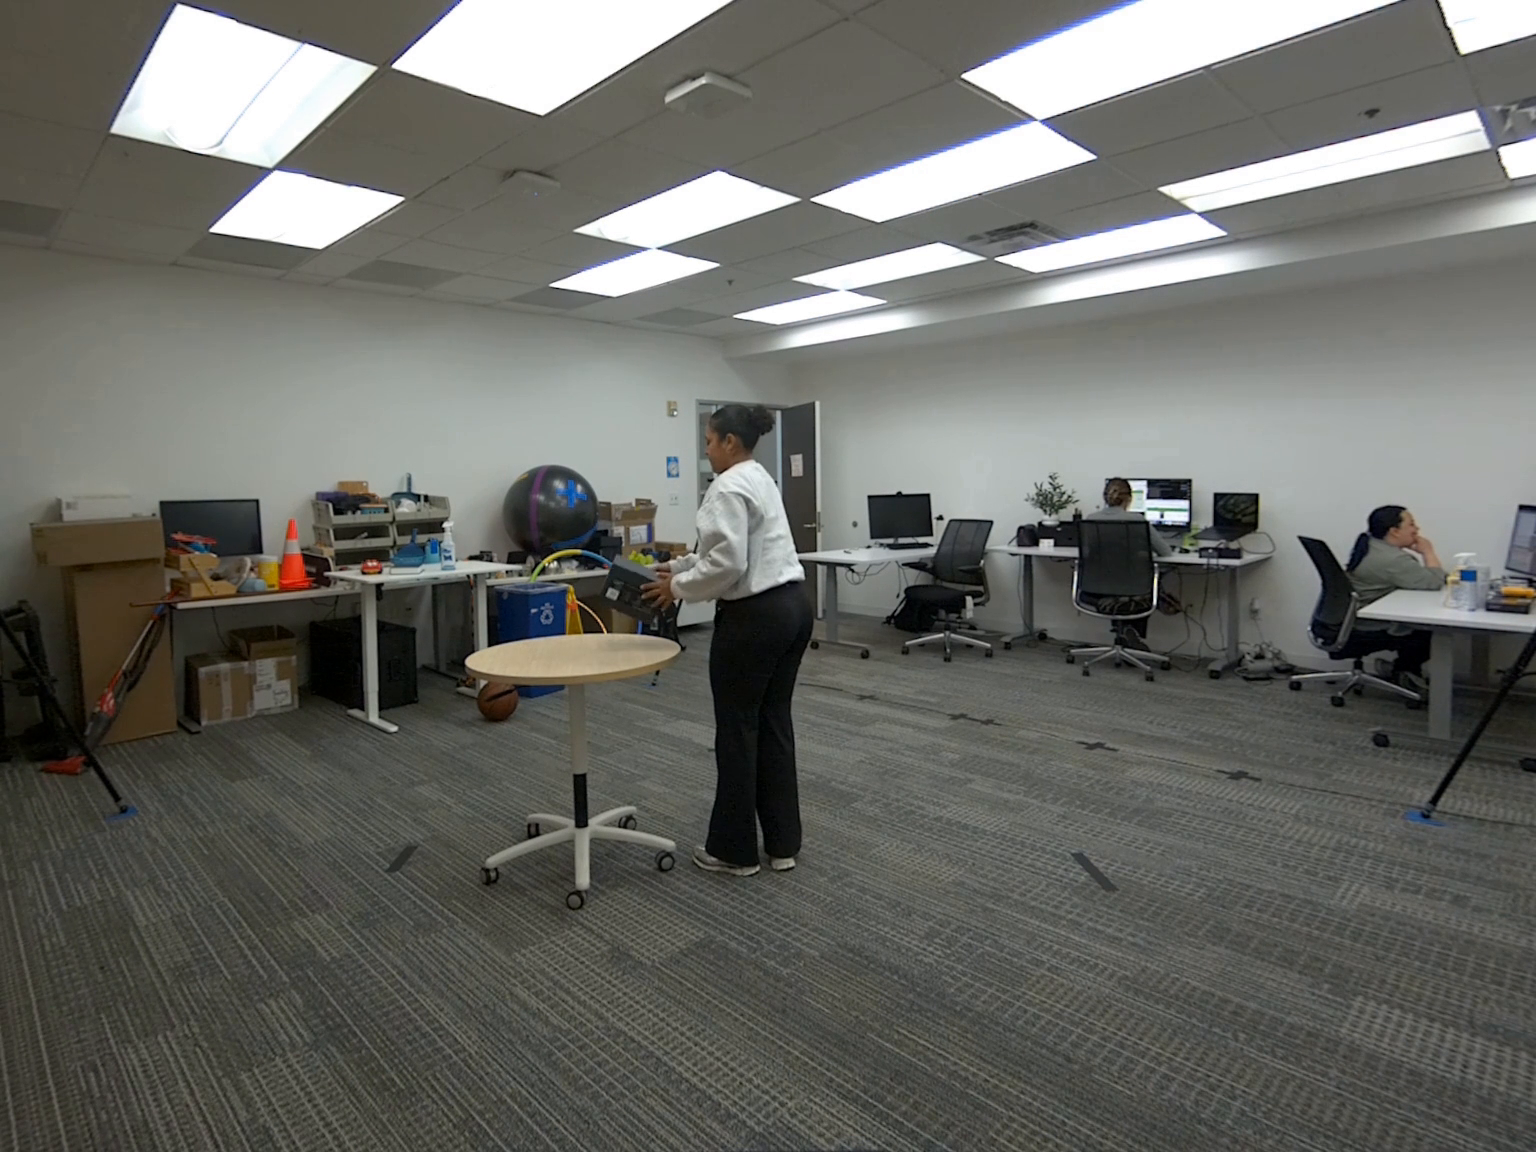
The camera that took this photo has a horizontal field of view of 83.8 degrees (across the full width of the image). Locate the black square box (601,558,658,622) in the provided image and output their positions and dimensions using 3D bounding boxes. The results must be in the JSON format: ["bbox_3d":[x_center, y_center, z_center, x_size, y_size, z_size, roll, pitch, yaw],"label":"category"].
[{"bbox_3d":[-0.490,0.052,3.172,0.216,0.155,0.230,17,8,-4],"label":"black square box"}]
